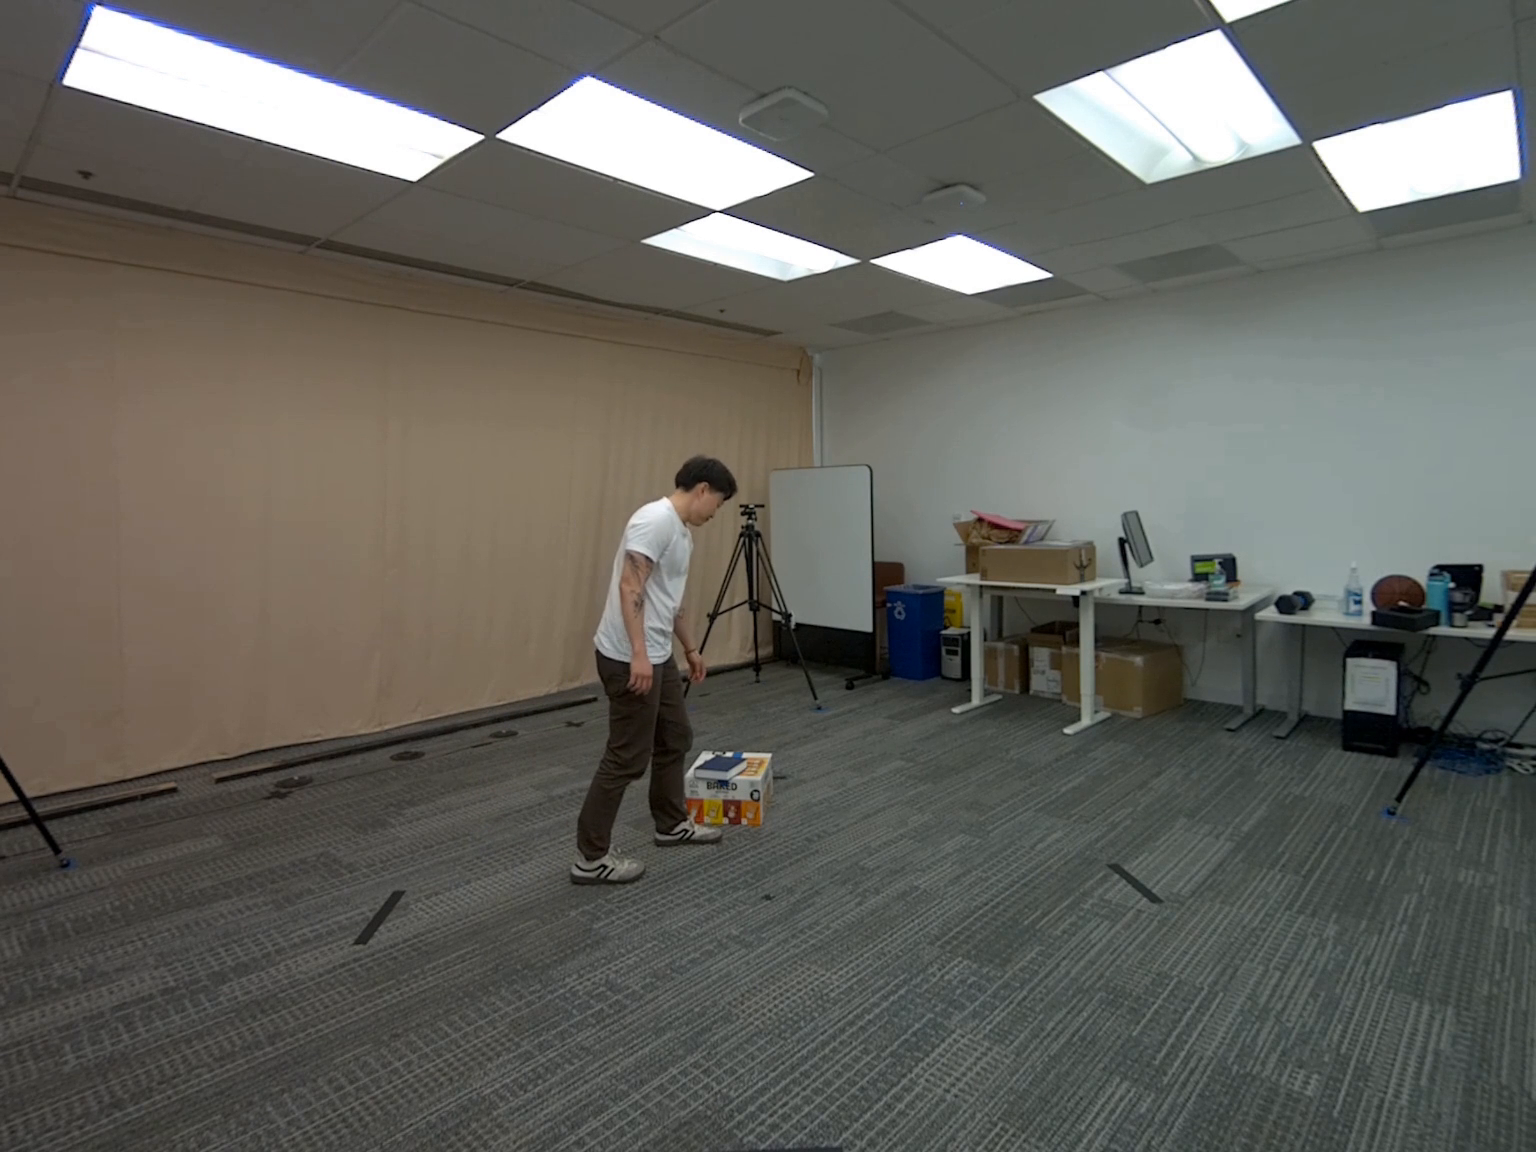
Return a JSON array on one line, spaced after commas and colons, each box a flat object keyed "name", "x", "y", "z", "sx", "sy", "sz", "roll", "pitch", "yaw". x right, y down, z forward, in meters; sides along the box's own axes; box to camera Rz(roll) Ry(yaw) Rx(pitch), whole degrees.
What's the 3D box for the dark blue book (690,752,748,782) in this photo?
[{"name": "dark blue book", "x": -0.203, "y": 0.859, "z": 3.778, "sx": 0.167, "sy": 0.045, "sz": 0.240, "roll": 0, "pitch": 2, "yaw": 21}]
